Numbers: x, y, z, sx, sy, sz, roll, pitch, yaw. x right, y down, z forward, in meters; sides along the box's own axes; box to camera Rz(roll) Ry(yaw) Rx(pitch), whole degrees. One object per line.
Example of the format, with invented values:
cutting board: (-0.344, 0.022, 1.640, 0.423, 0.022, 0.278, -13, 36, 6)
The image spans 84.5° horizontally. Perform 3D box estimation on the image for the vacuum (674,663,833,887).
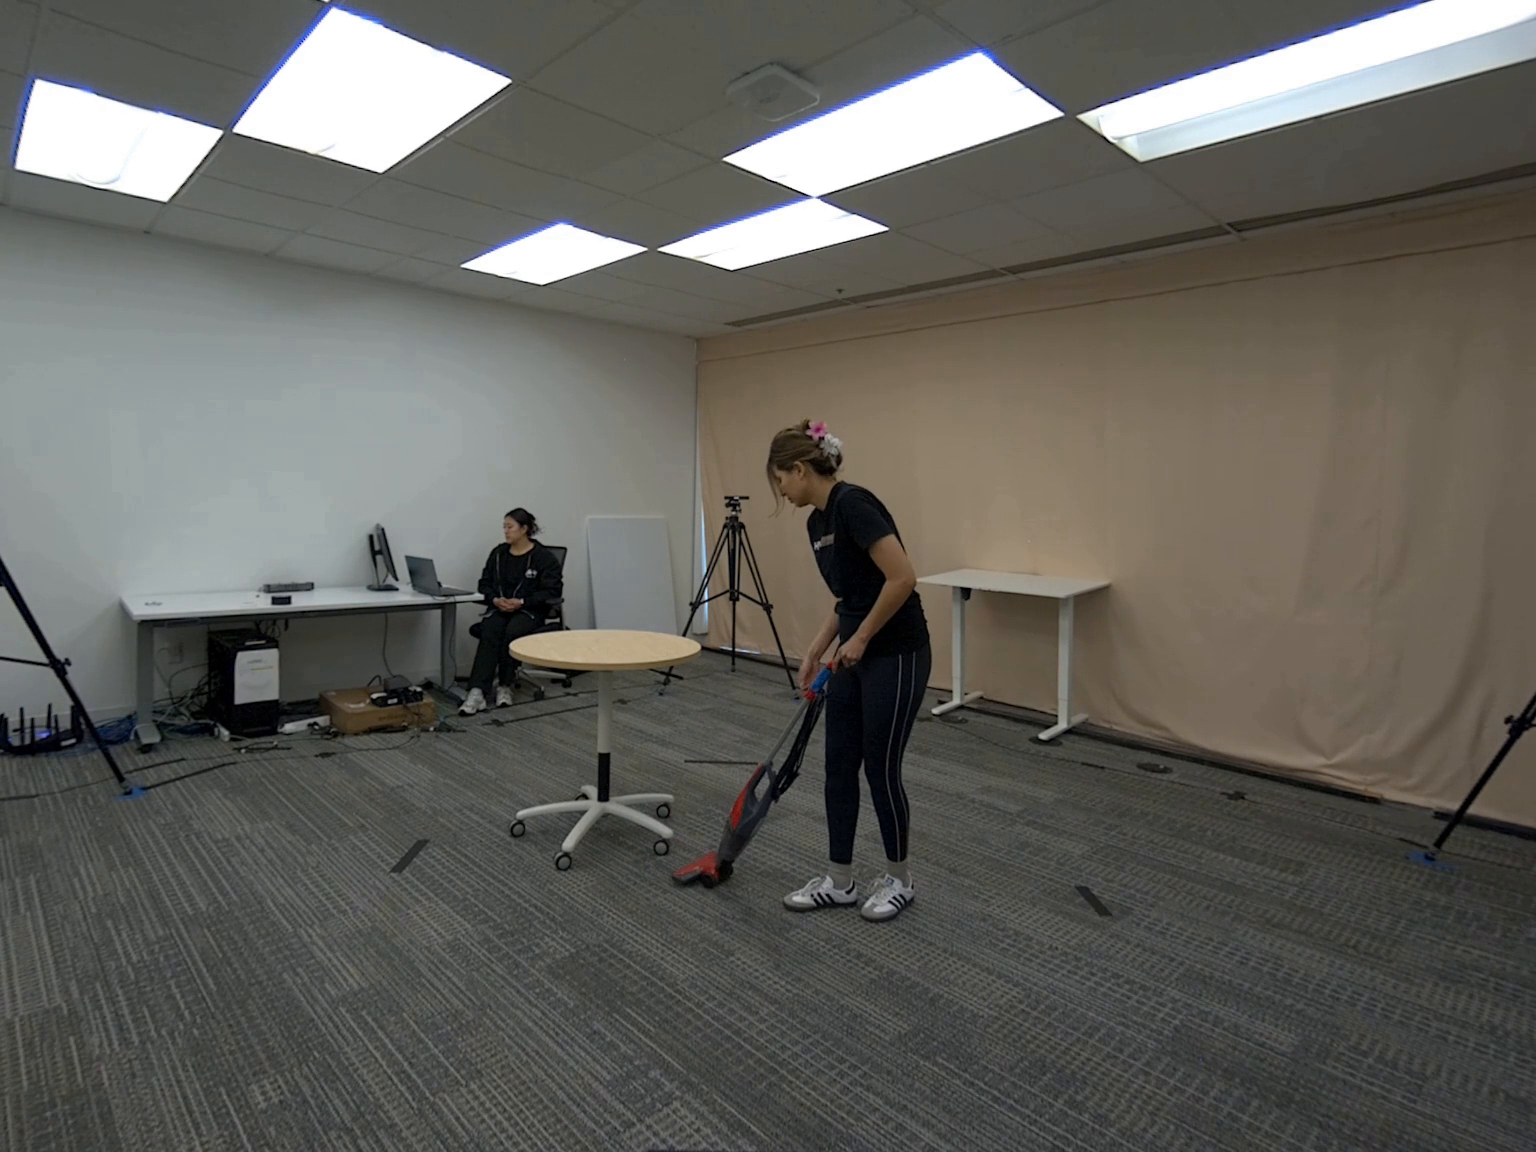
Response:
vacuum: (0.006, 0.675, 2.894, 0.147, 1.043, 0.249, 37, 23, 19)
